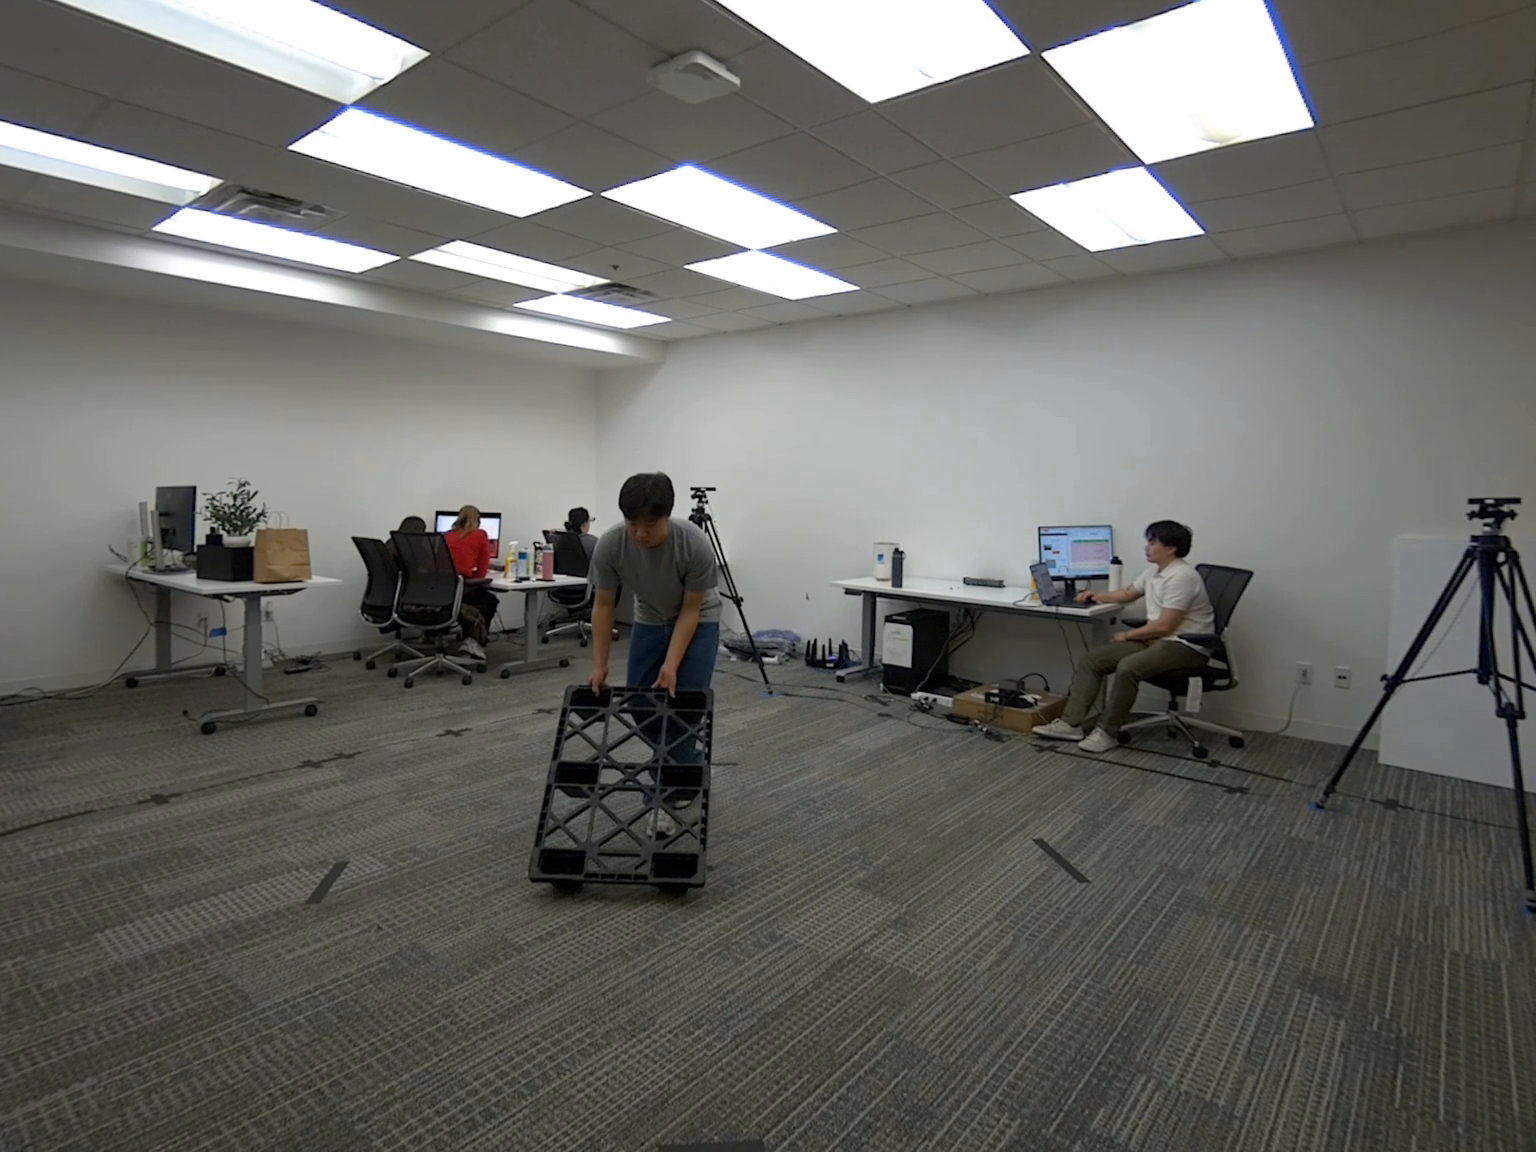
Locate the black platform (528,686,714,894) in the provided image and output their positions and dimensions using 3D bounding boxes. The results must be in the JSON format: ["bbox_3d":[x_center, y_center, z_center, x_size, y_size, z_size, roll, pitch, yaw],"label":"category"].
[{"bbox_3d":[-0.514,0.771,3.153,0.606,0.139,0.828,0,44,1],"label":"black platform"}]
